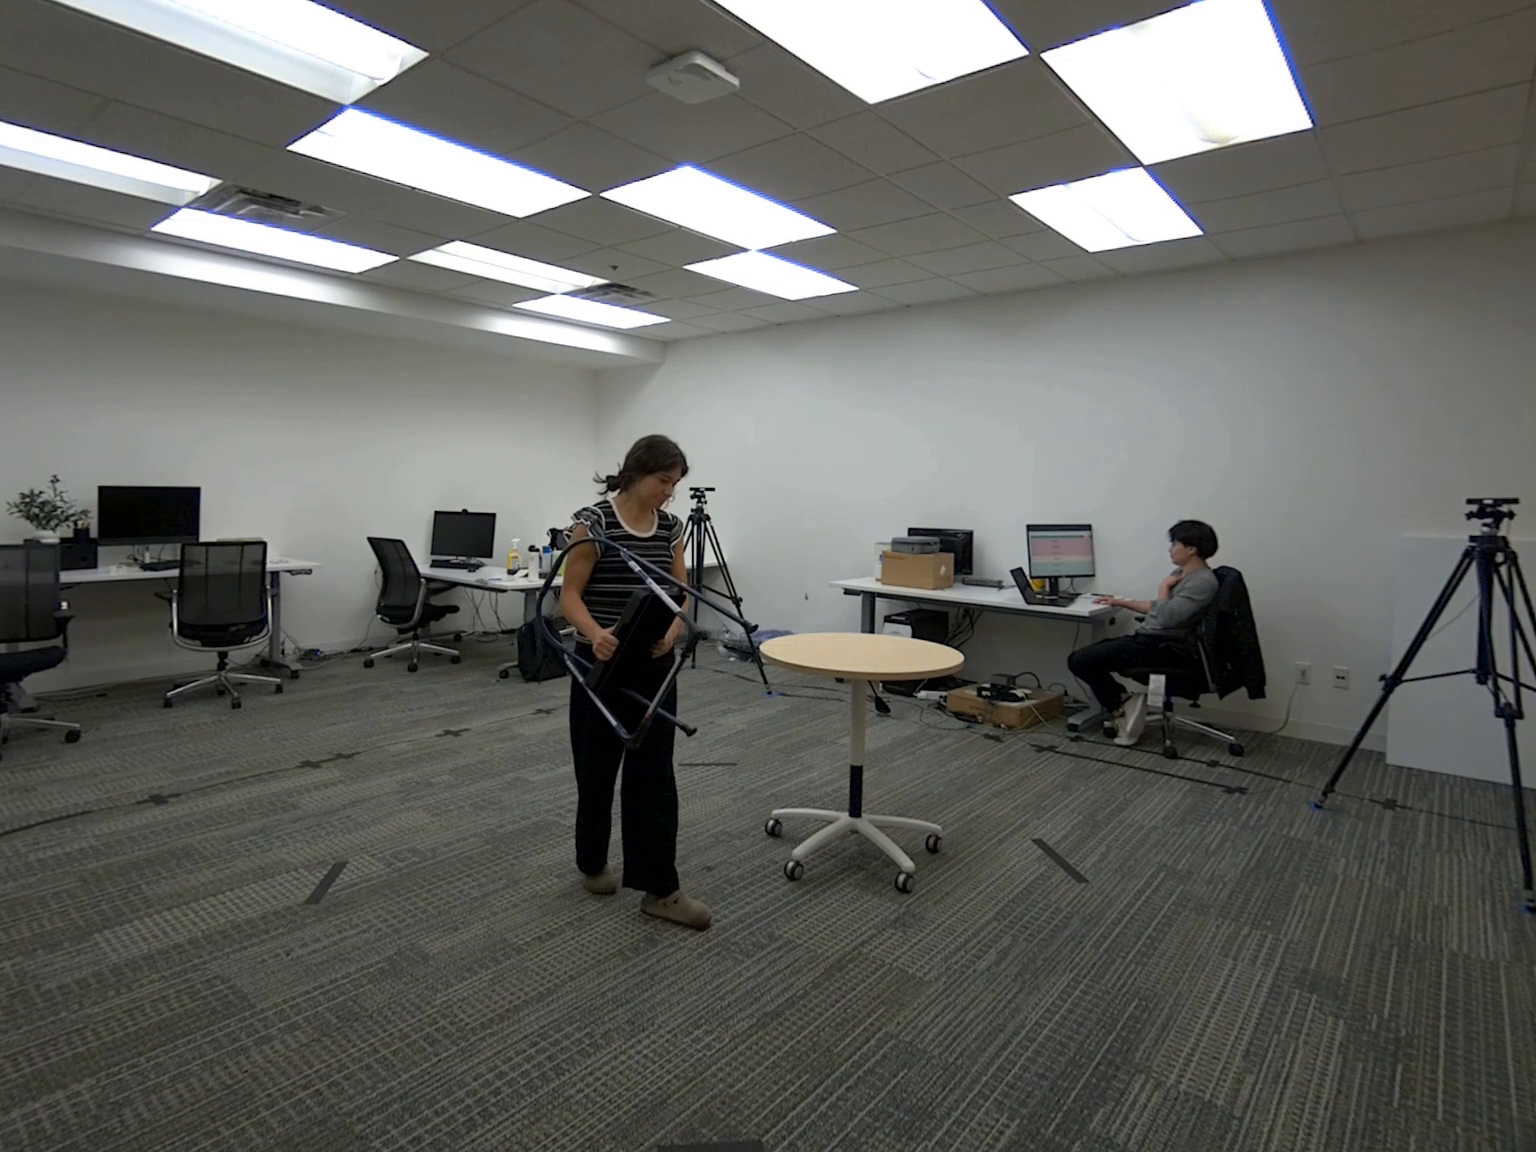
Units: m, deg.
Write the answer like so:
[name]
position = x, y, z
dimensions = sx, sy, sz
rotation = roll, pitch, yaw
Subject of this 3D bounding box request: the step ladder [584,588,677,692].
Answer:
[step ladder]
position = -0.439, 0.157, 2.642
dimensions = 0.626, 0.429, 0.339
rotation = 35, 13, 24
